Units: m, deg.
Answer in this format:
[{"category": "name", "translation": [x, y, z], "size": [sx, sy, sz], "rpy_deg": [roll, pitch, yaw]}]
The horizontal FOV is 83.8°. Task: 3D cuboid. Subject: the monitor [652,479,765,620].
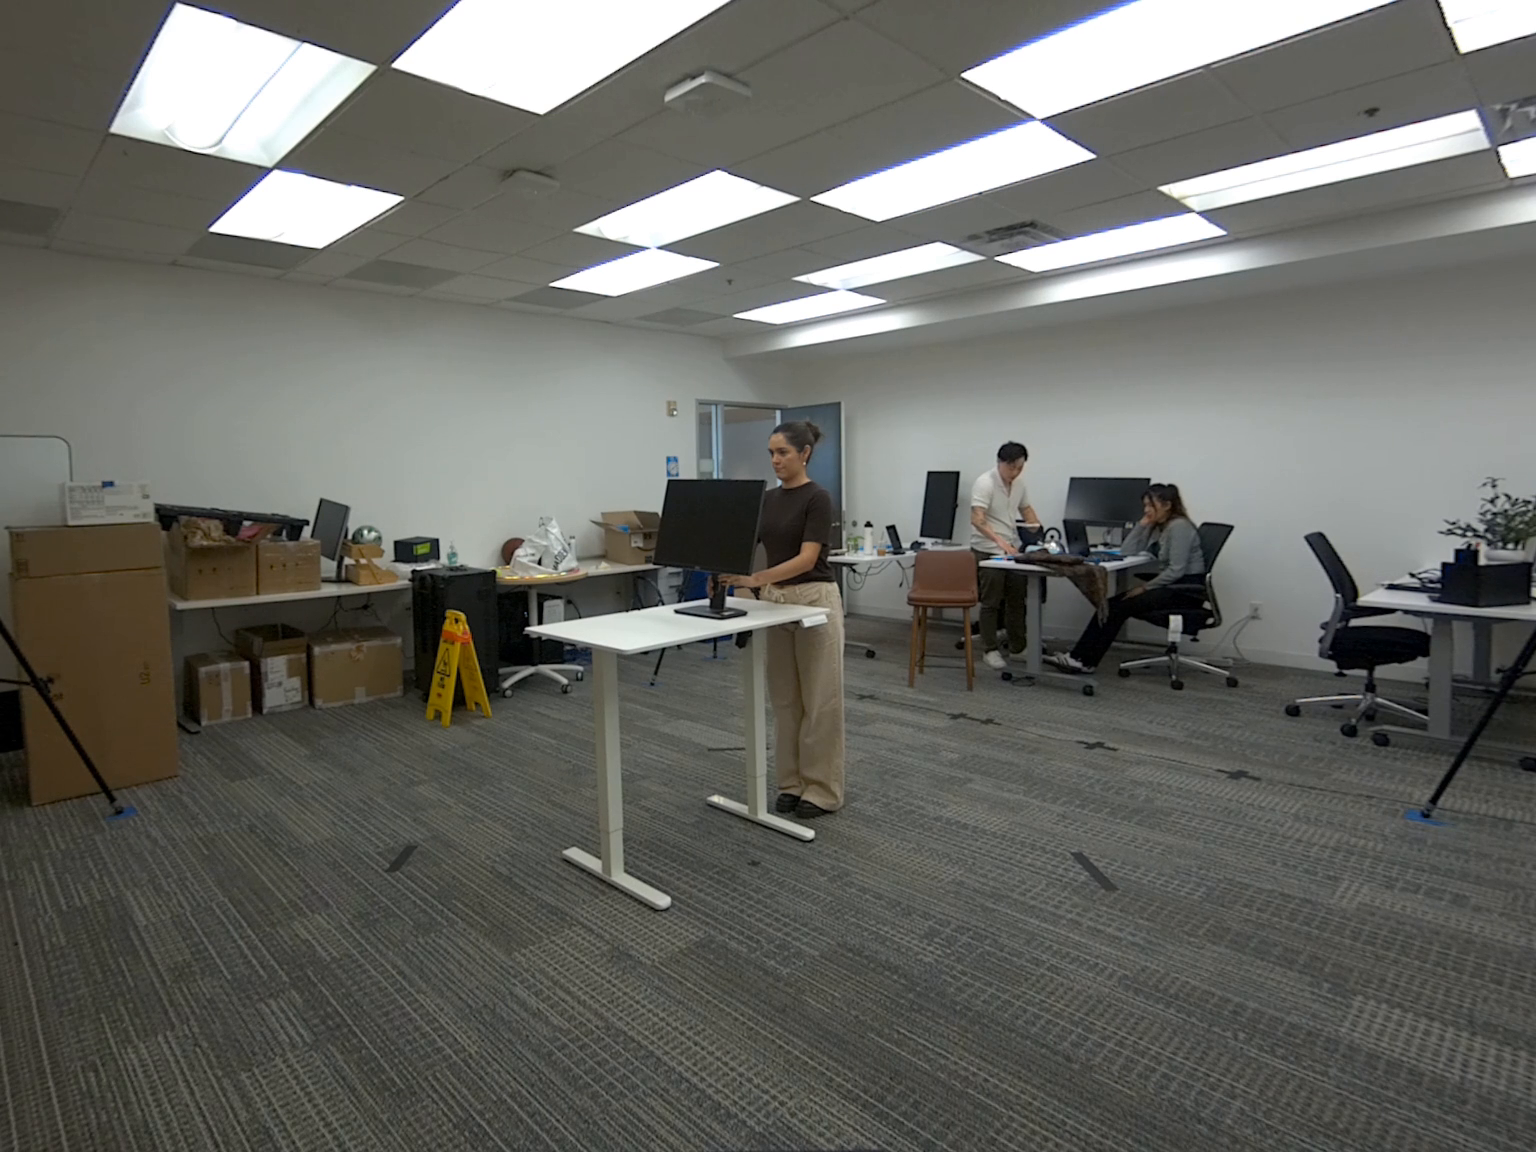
[{"category": "monitor", "translation": [-0.220, -0.111, 3.255], "size": [0.547, 0.512, 0.170], "rpy_deg": [6, 10, 44]}]
